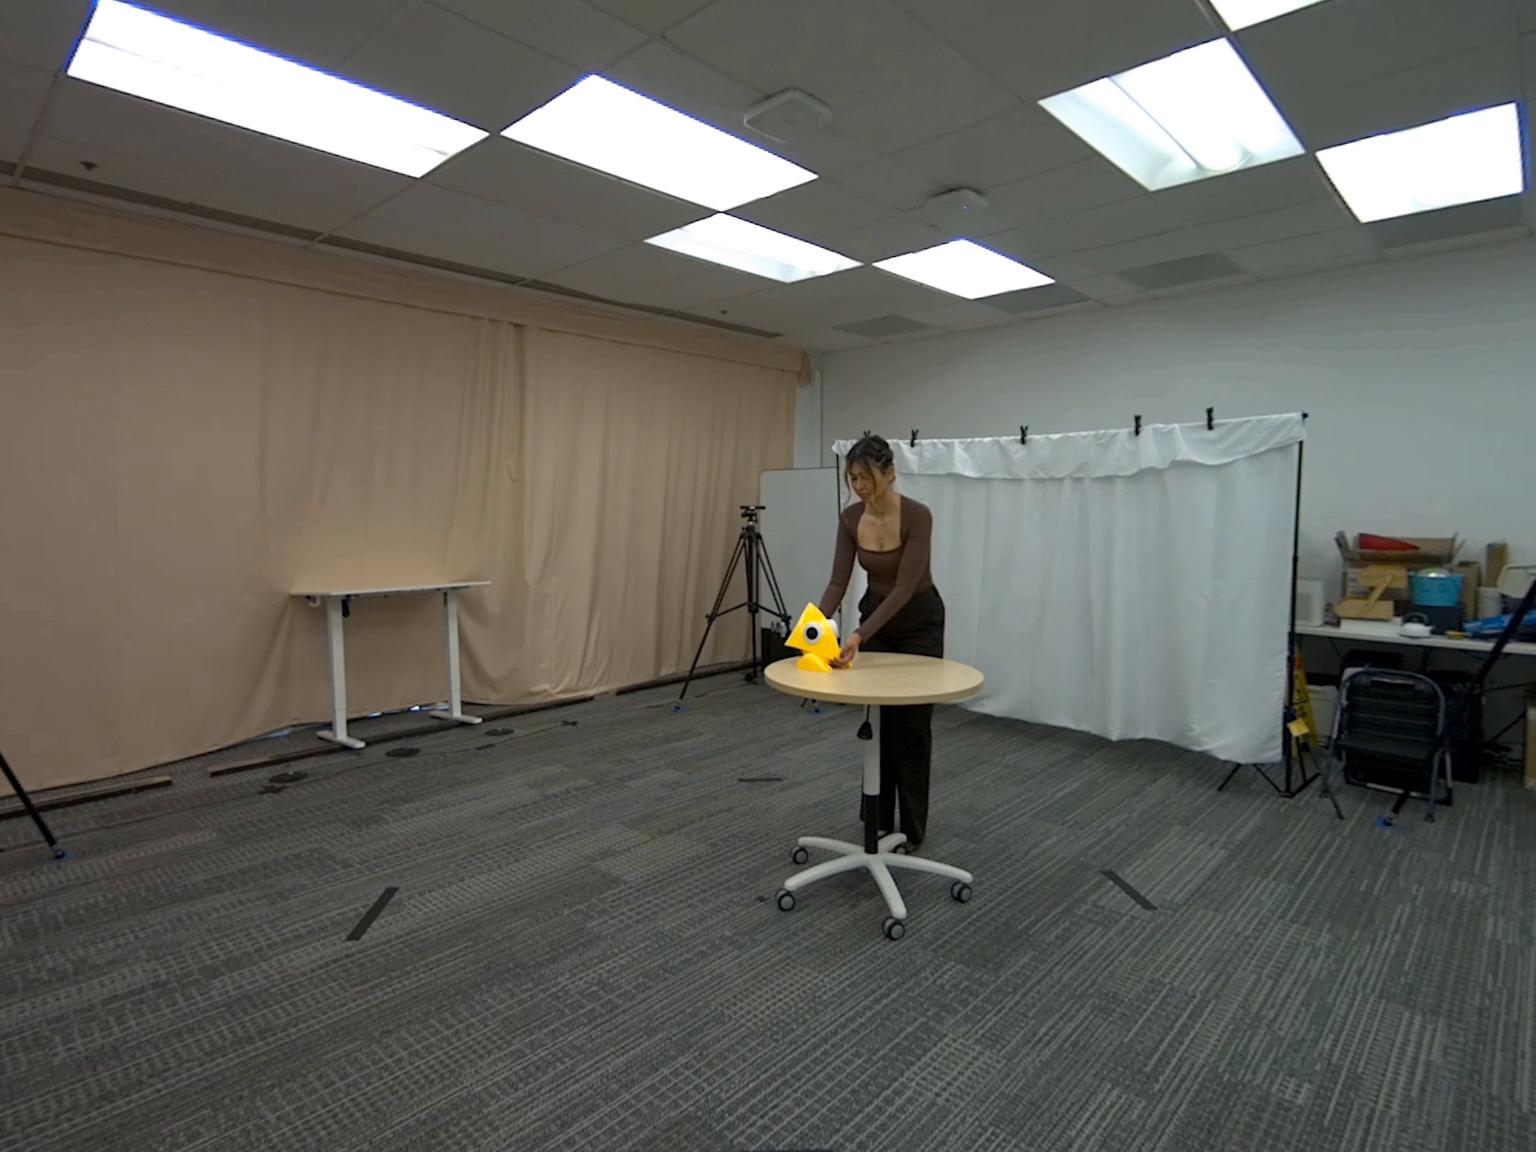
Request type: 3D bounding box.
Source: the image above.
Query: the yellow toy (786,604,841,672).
[{"bbox_3d":[0.196,0.218,3.127,0.199,0.230,0.199,-4,6,-40],"label":"yellow toy"}]
